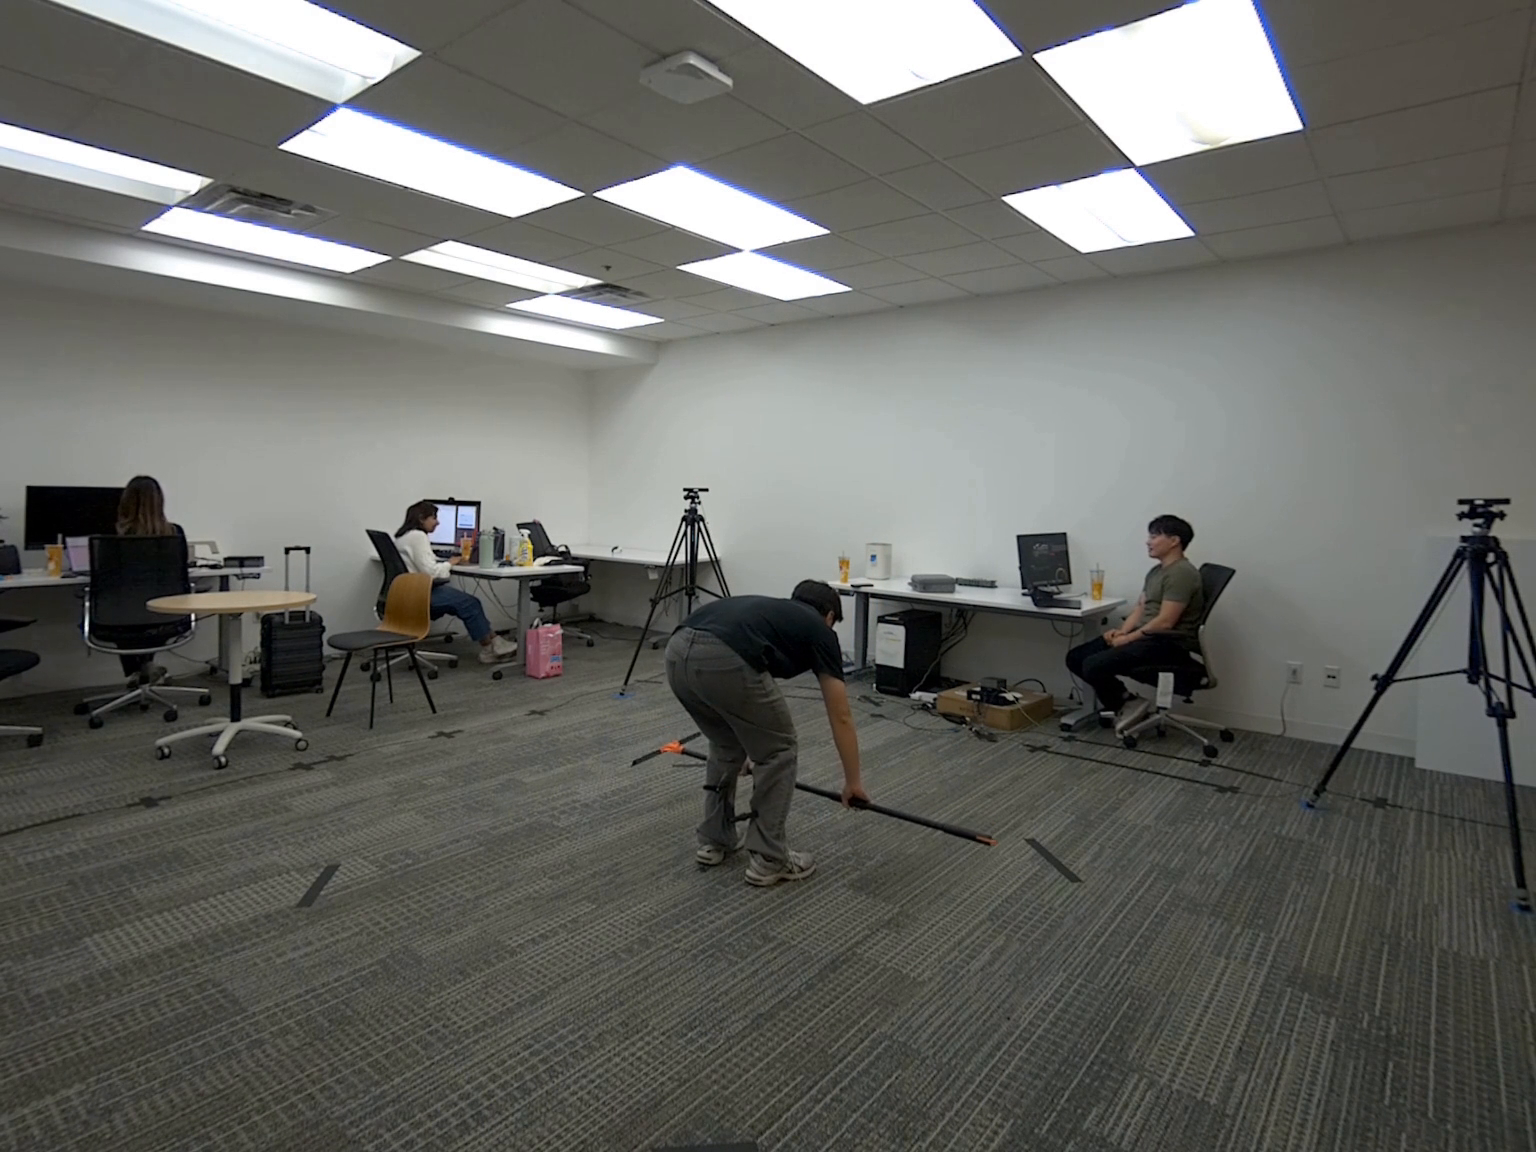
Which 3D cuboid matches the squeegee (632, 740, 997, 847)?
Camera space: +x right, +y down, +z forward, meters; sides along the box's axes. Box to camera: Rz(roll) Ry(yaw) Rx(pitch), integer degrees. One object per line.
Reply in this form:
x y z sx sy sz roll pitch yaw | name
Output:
0.134 0.834 3.359 1.590 0.052 0.426 7 12 38 | squeegee
